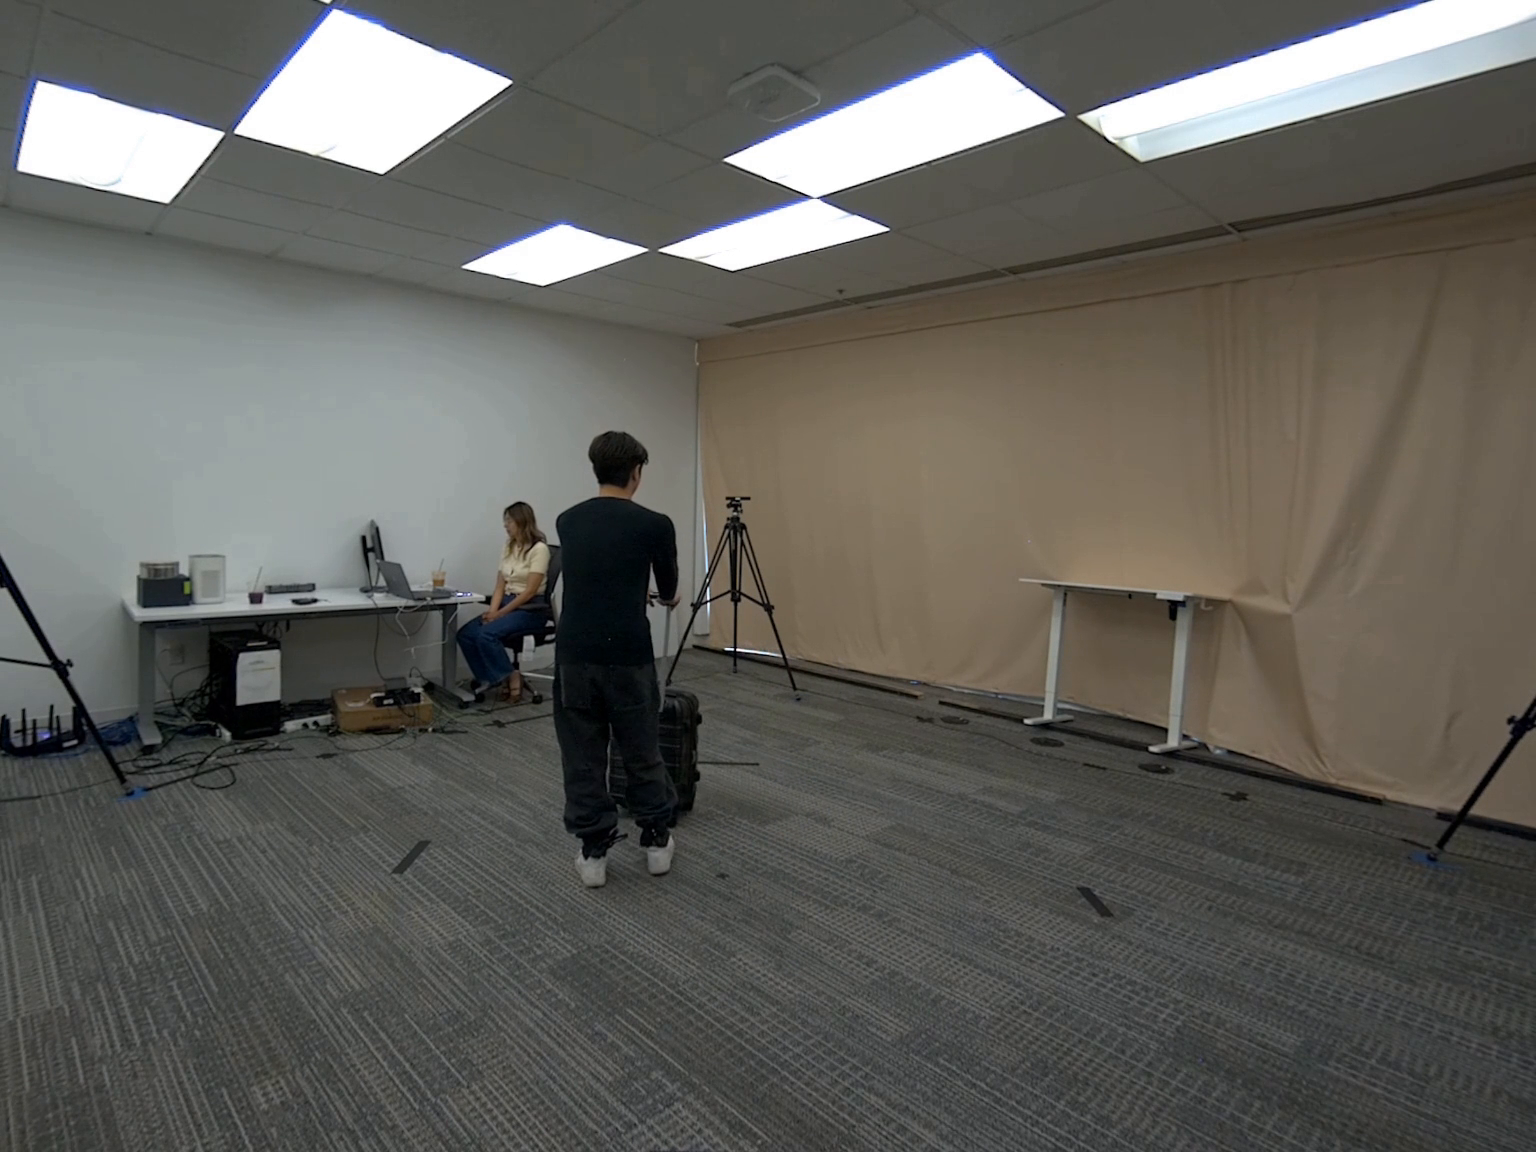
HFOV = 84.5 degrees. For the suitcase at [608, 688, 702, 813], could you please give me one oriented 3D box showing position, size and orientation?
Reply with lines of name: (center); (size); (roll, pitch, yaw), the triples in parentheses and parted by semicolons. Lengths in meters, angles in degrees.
suitcase: (-0.494, 0.572, 3.701); (0.390, 0.978, 0.253); (4, 1, 19)
